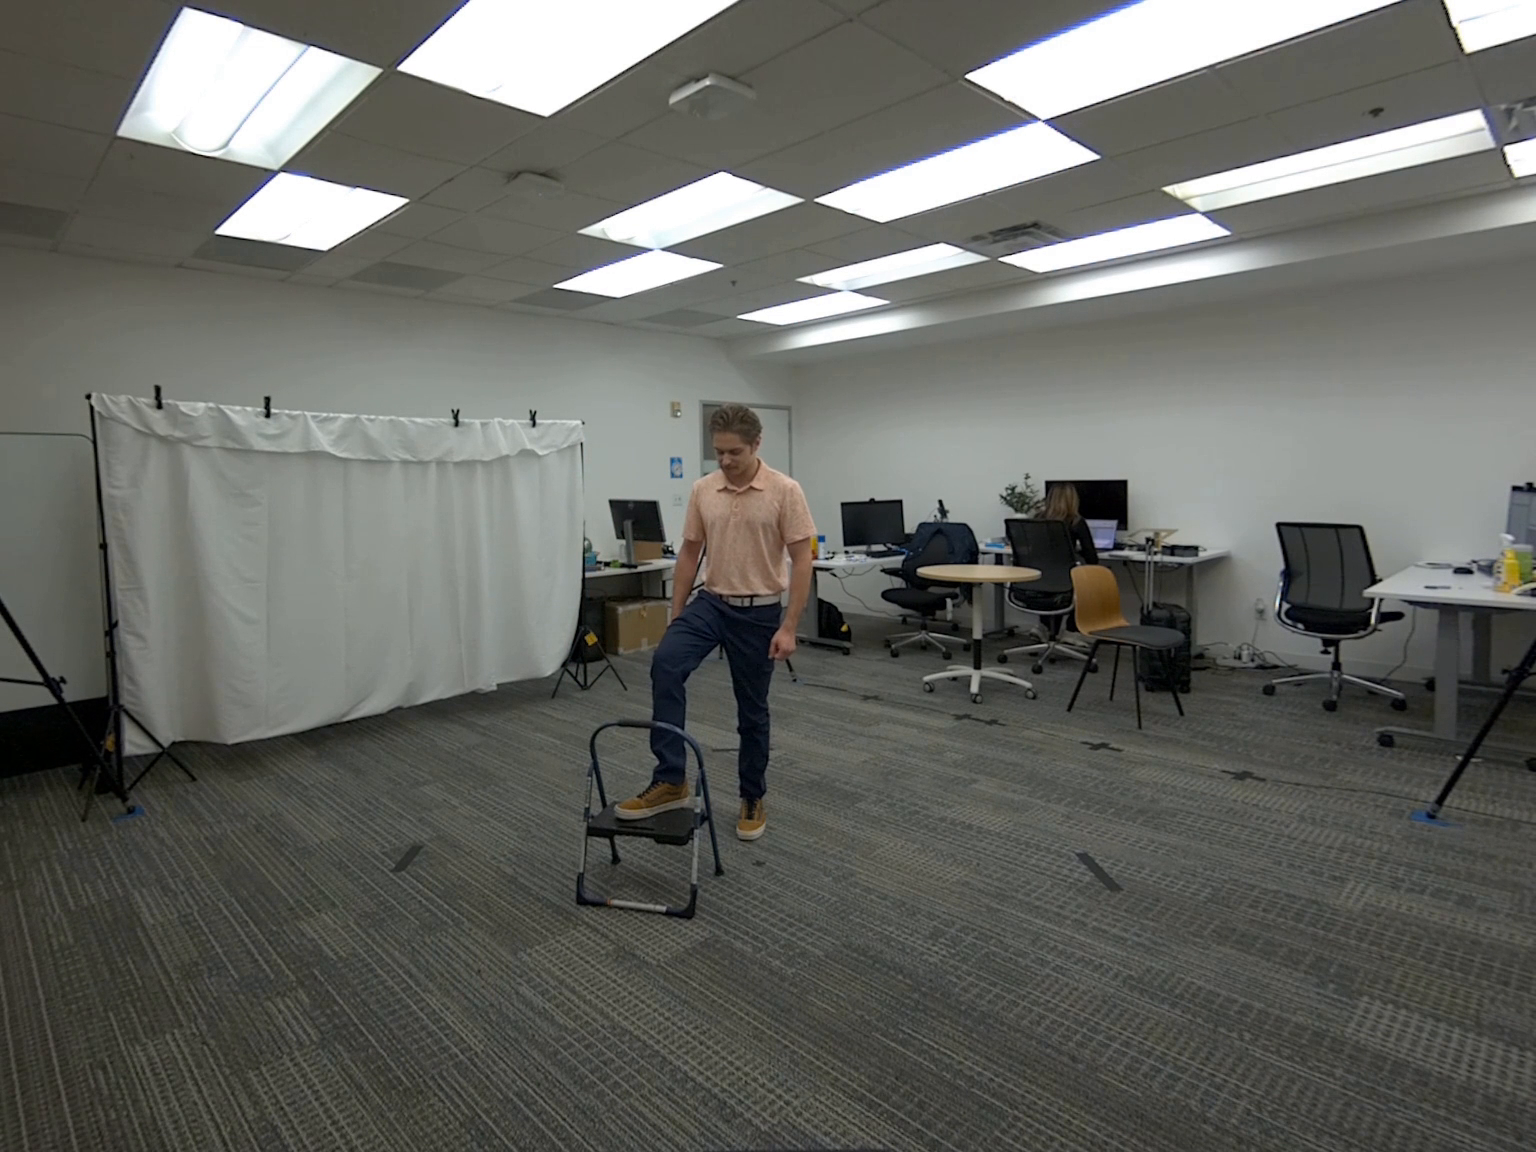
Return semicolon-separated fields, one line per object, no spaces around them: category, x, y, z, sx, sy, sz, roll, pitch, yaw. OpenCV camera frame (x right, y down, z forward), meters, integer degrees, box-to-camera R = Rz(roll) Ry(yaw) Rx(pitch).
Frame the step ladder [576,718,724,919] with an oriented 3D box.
step ladder;-0.406;0.774;2.919;0.437;0.604;0.345;1;5;15
